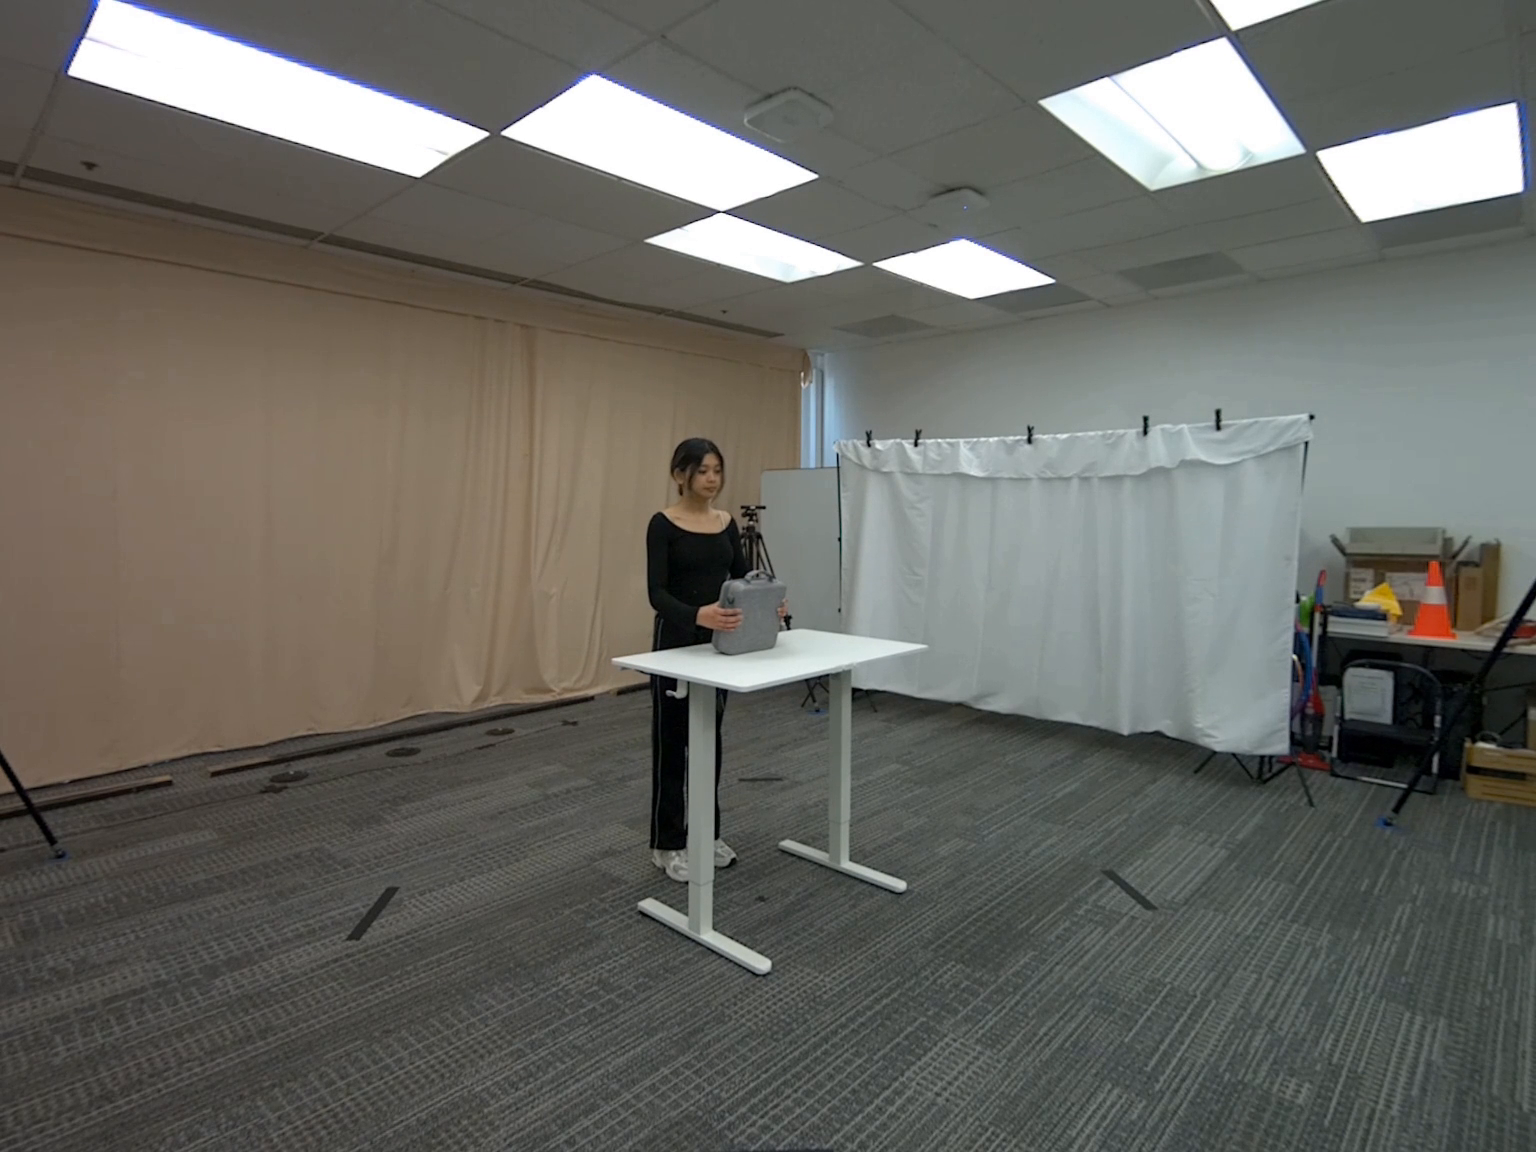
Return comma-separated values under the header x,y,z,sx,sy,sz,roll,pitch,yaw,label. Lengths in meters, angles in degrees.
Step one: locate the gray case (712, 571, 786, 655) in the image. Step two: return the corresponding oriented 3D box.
x,y,z,sx,sy,sz,roll,pitch,yaw,label
-0.062,0.134,2.934,0.249,0.259,0.108,-3,17,-43,gray case
